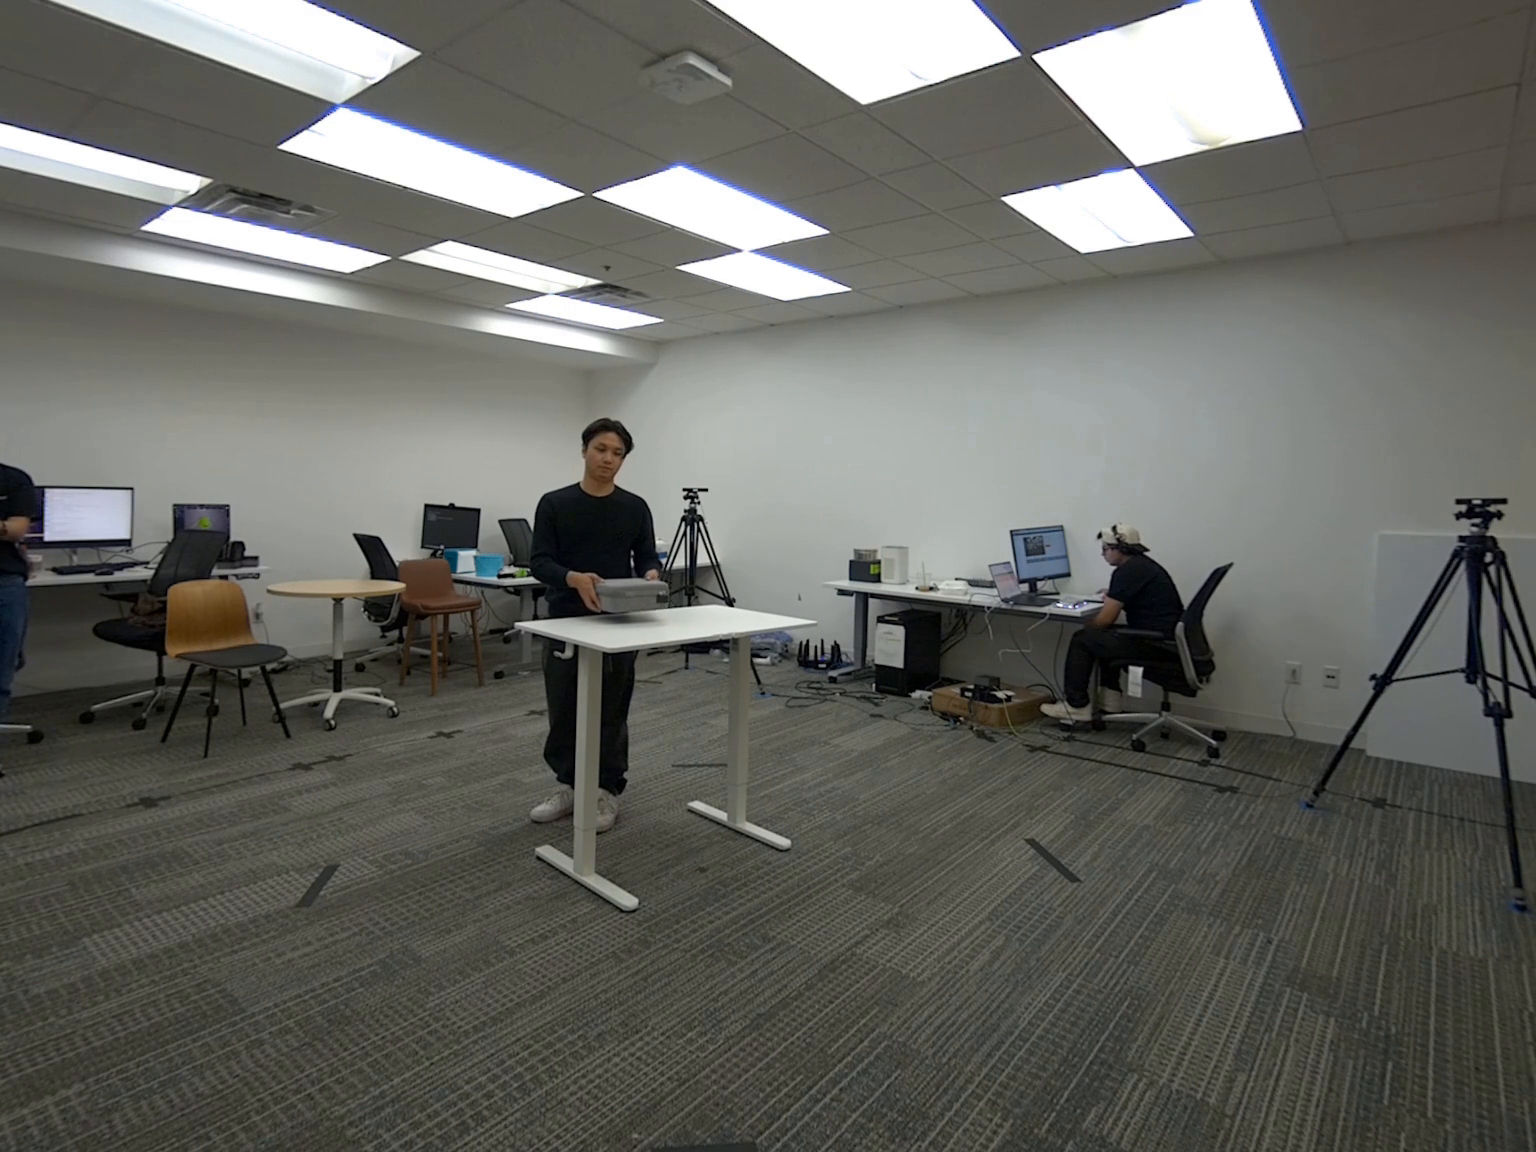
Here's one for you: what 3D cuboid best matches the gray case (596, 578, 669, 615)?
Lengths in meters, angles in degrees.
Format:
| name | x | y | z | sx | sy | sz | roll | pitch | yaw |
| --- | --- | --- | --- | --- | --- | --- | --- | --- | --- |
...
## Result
| name | x | y | z | sx | sy | sz | roll | pitch | yaw |
| --- | --- | --- | --- | --- | --- | --- | --- | --- | --- |
| gray case | -0.544 | 0.071 | 3.250 | 0.251 | 0.104 | 0.268 | -3 | 5 | -27 |
